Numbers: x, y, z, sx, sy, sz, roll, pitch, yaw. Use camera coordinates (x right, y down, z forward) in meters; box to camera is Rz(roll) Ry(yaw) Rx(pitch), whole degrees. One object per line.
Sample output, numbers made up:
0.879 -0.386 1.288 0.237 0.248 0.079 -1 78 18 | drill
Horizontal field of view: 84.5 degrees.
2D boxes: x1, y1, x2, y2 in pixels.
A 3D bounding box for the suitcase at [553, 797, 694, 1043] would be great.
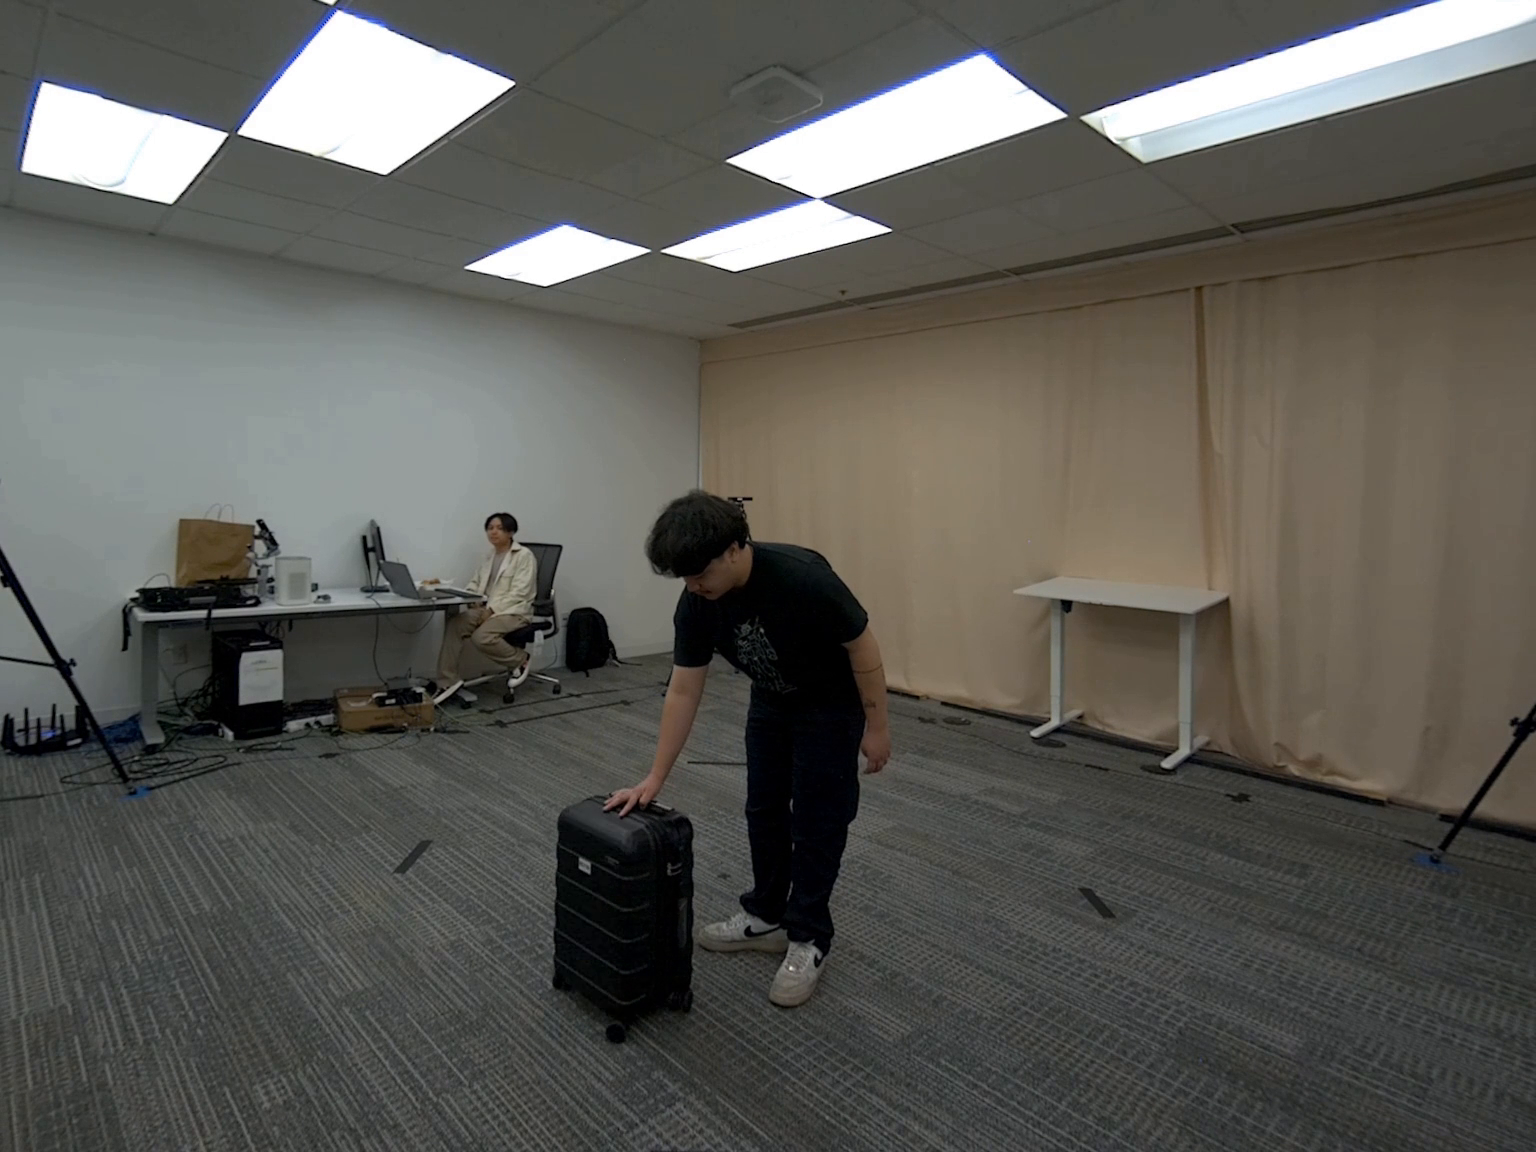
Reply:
-0.402 0.904 2.310 0.385 0.548 0.243 6 6 44 | suitcase
